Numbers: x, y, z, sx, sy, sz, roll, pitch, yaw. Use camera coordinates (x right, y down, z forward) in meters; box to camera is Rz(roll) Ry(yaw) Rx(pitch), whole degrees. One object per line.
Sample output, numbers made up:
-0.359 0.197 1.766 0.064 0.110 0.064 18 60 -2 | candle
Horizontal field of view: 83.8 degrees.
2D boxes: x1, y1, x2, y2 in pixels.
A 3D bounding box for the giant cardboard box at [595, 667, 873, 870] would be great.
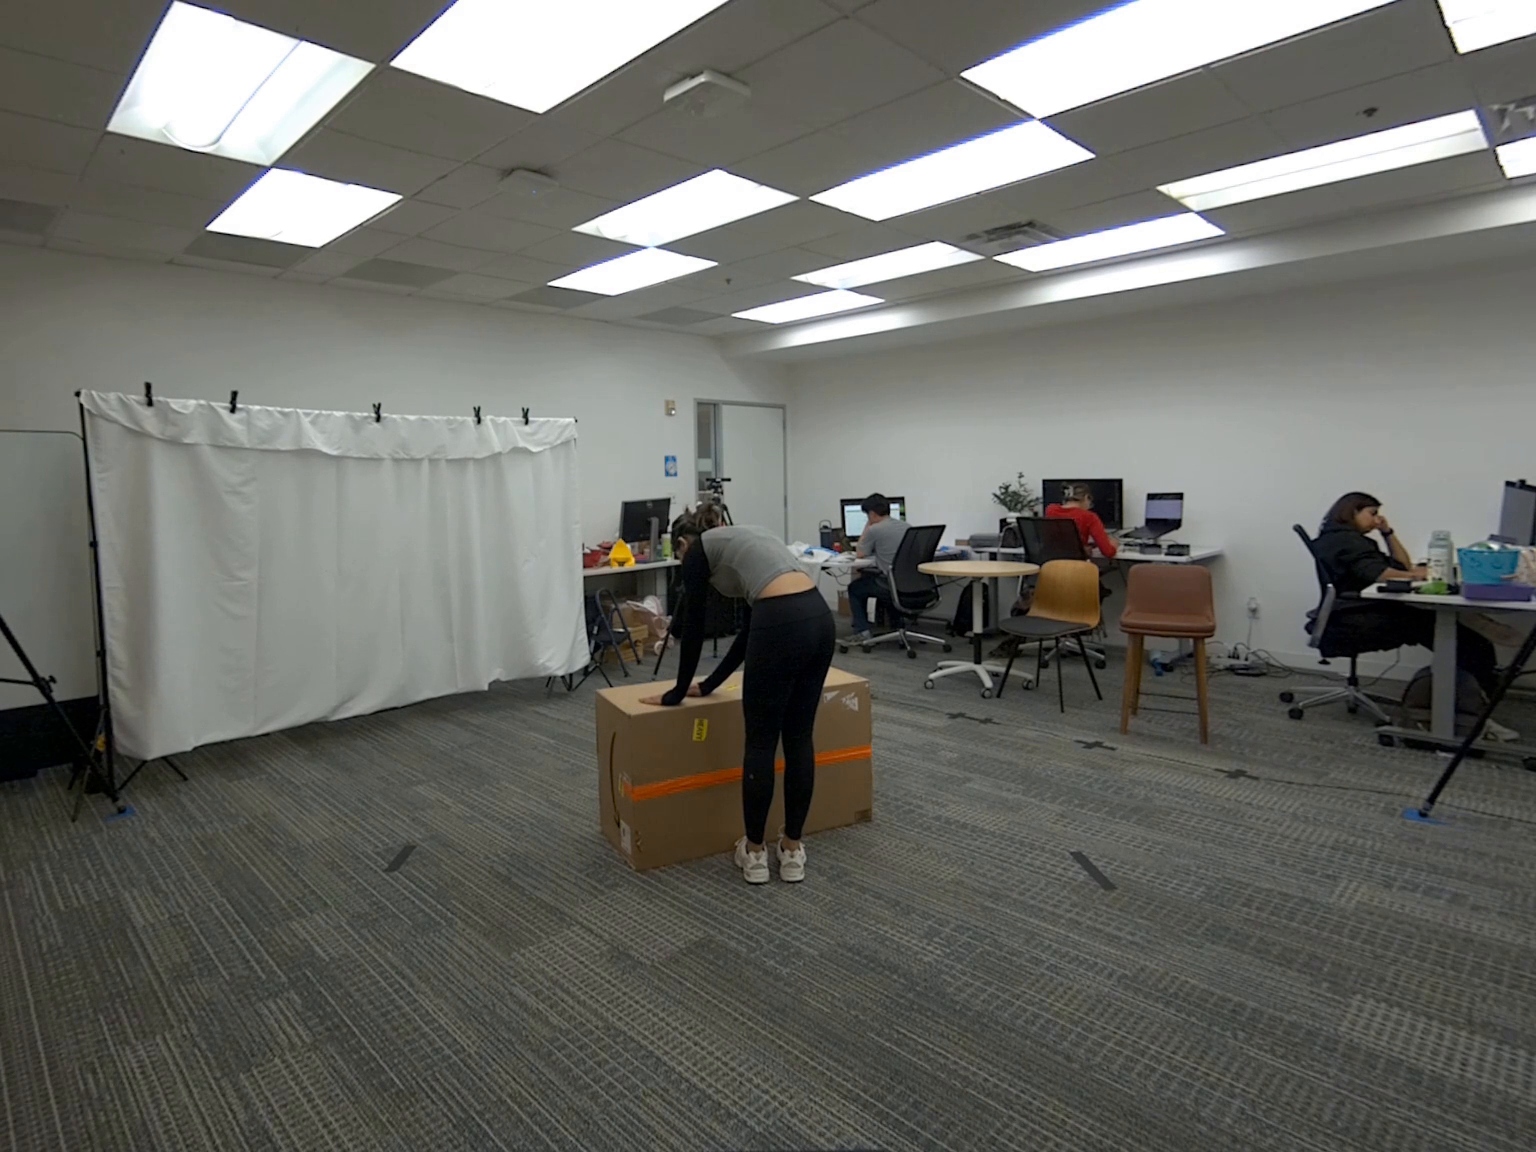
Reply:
-0.132 0.720 3.429 1.005 0.575 0.437 -4 5 -25 | giant cardboard box
